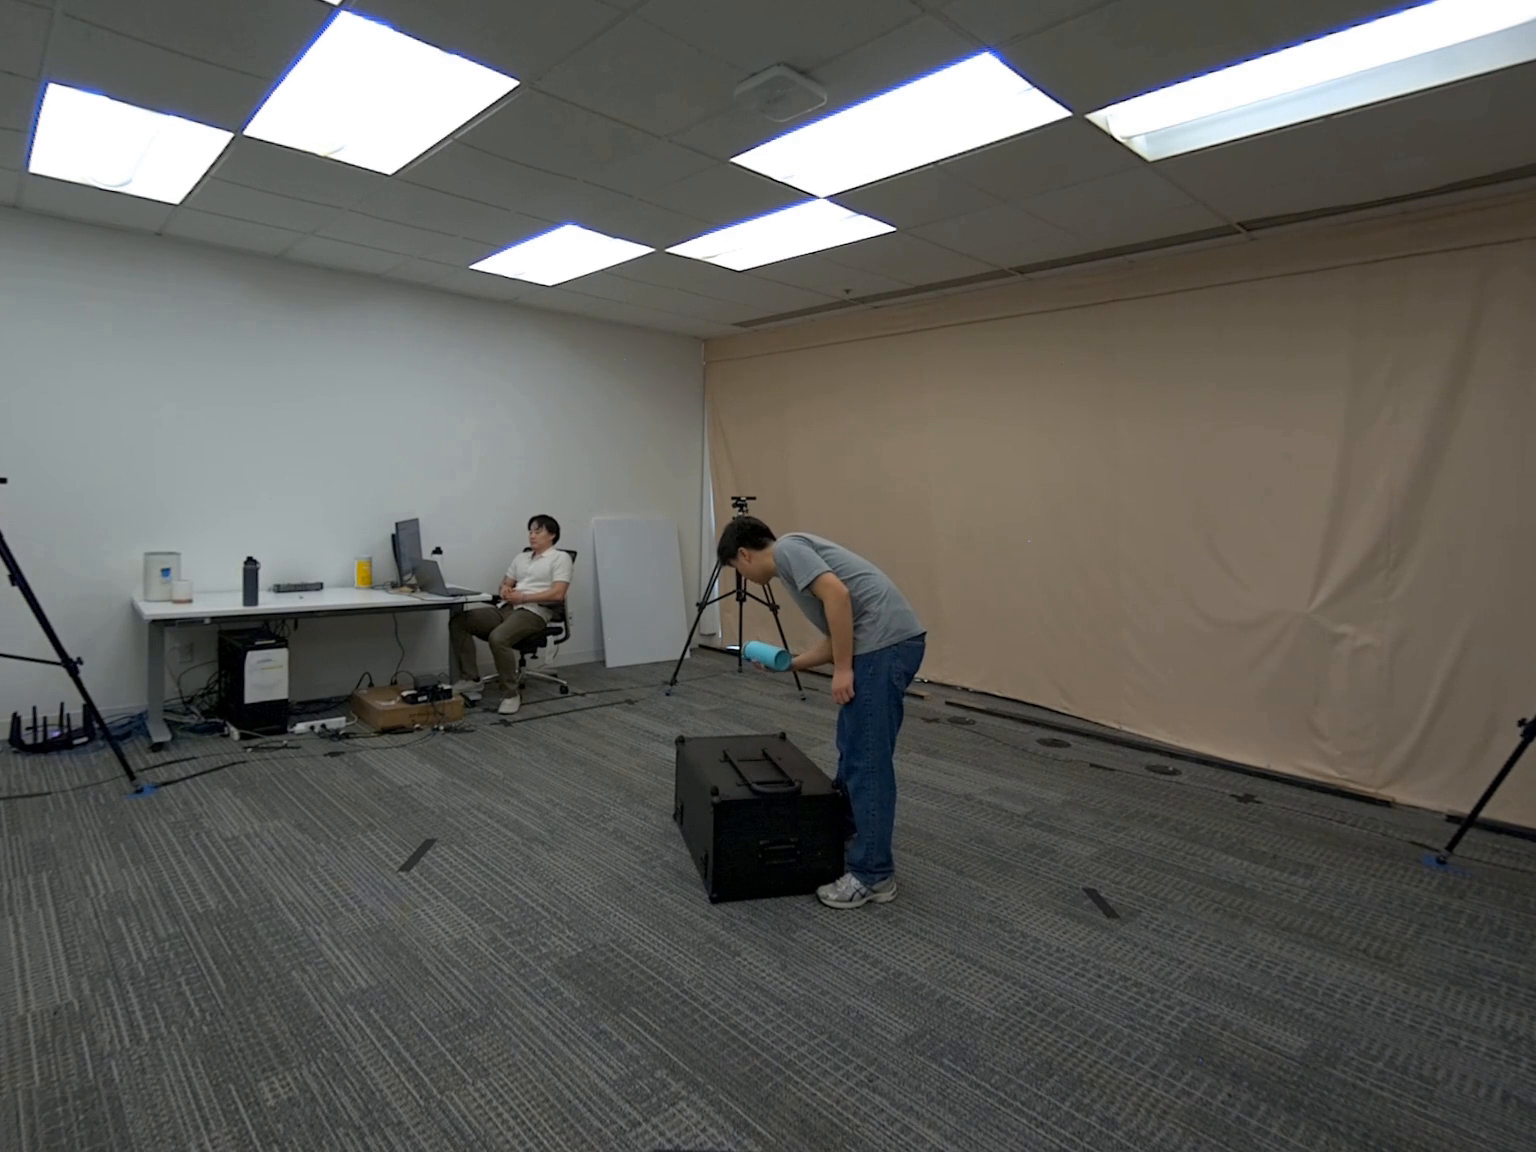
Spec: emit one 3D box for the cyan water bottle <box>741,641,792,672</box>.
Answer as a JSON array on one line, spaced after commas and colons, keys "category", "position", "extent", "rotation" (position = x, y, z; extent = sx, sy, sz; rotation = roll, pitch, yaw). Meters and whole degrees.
[{"category": "cyan water bottle", "position": [-0.026, 0.341, 3.478], "extent": [0.090, 0.092, 0.290], "rotation": [-1, 5, -33]}]
